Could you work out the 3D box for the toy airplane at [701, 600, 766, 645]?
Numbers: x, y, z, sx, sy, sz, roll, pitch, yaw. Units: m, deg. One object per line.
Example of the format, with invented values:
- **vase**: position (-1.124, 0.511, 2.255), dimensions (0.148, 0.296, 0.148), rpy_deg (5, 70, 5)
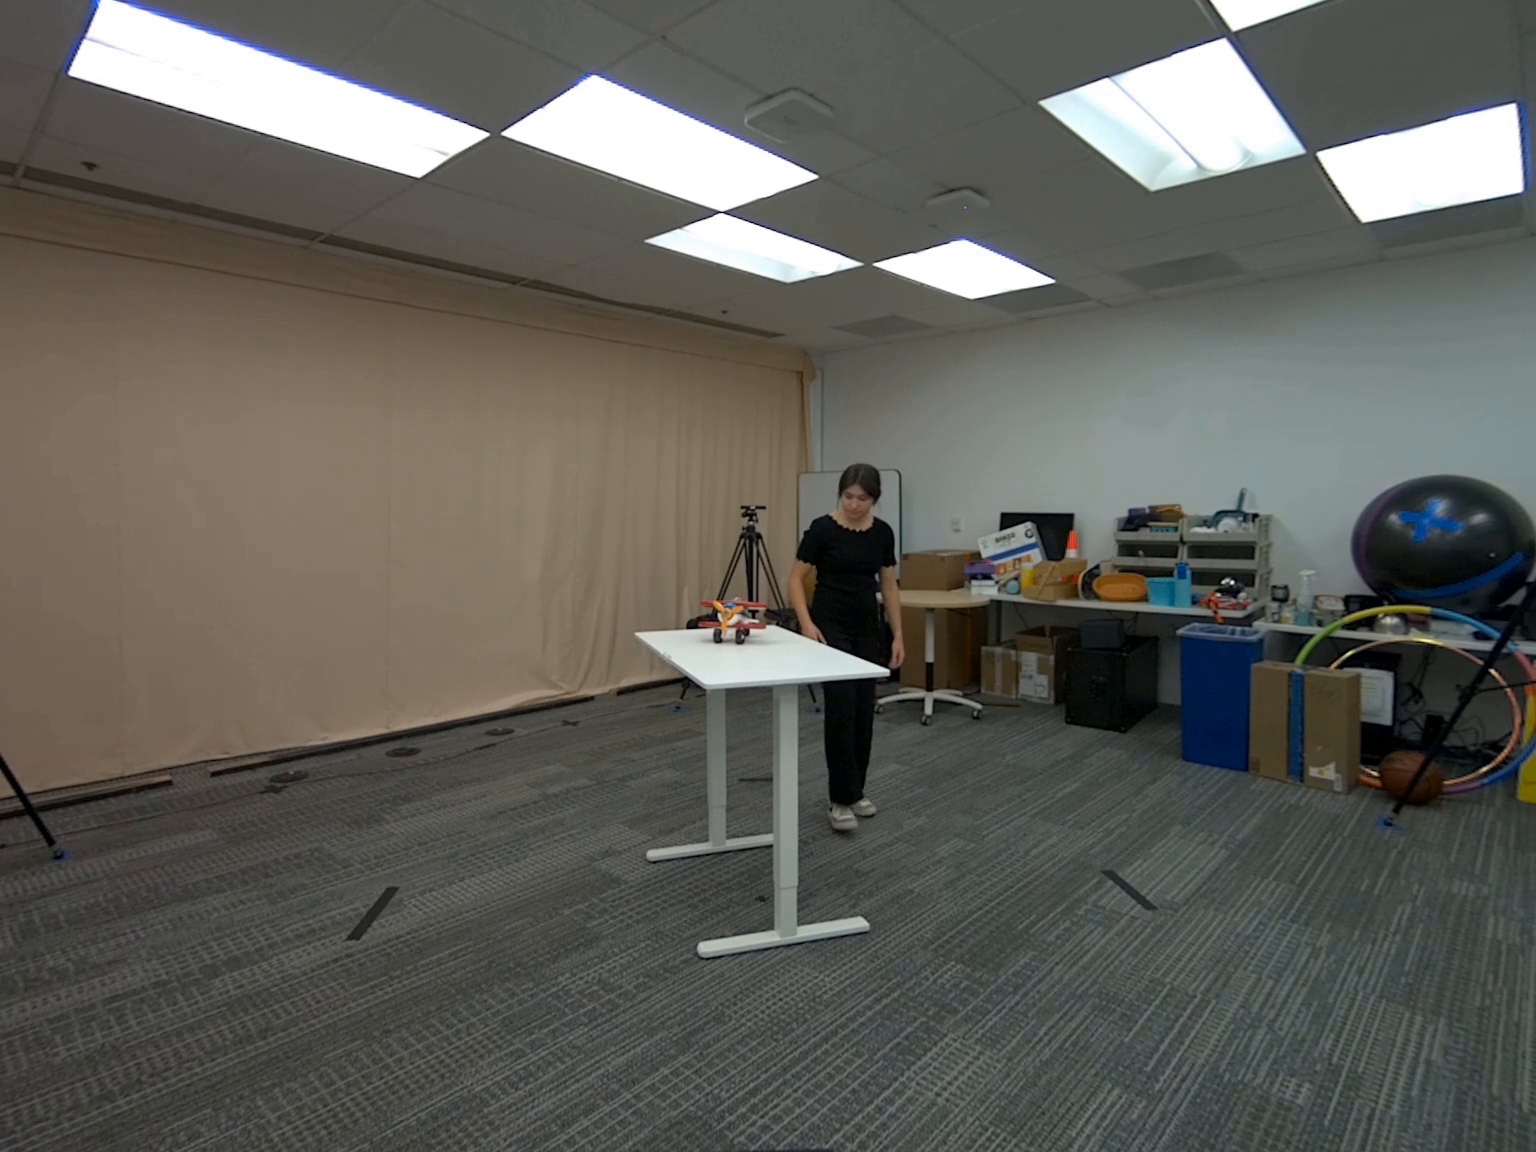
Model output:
- **toy airplane**: position (-0.139, 0.167, 3.195), dimensions (0.248, 0.156, 0.263), rpy_deg (0, 5, -13)
